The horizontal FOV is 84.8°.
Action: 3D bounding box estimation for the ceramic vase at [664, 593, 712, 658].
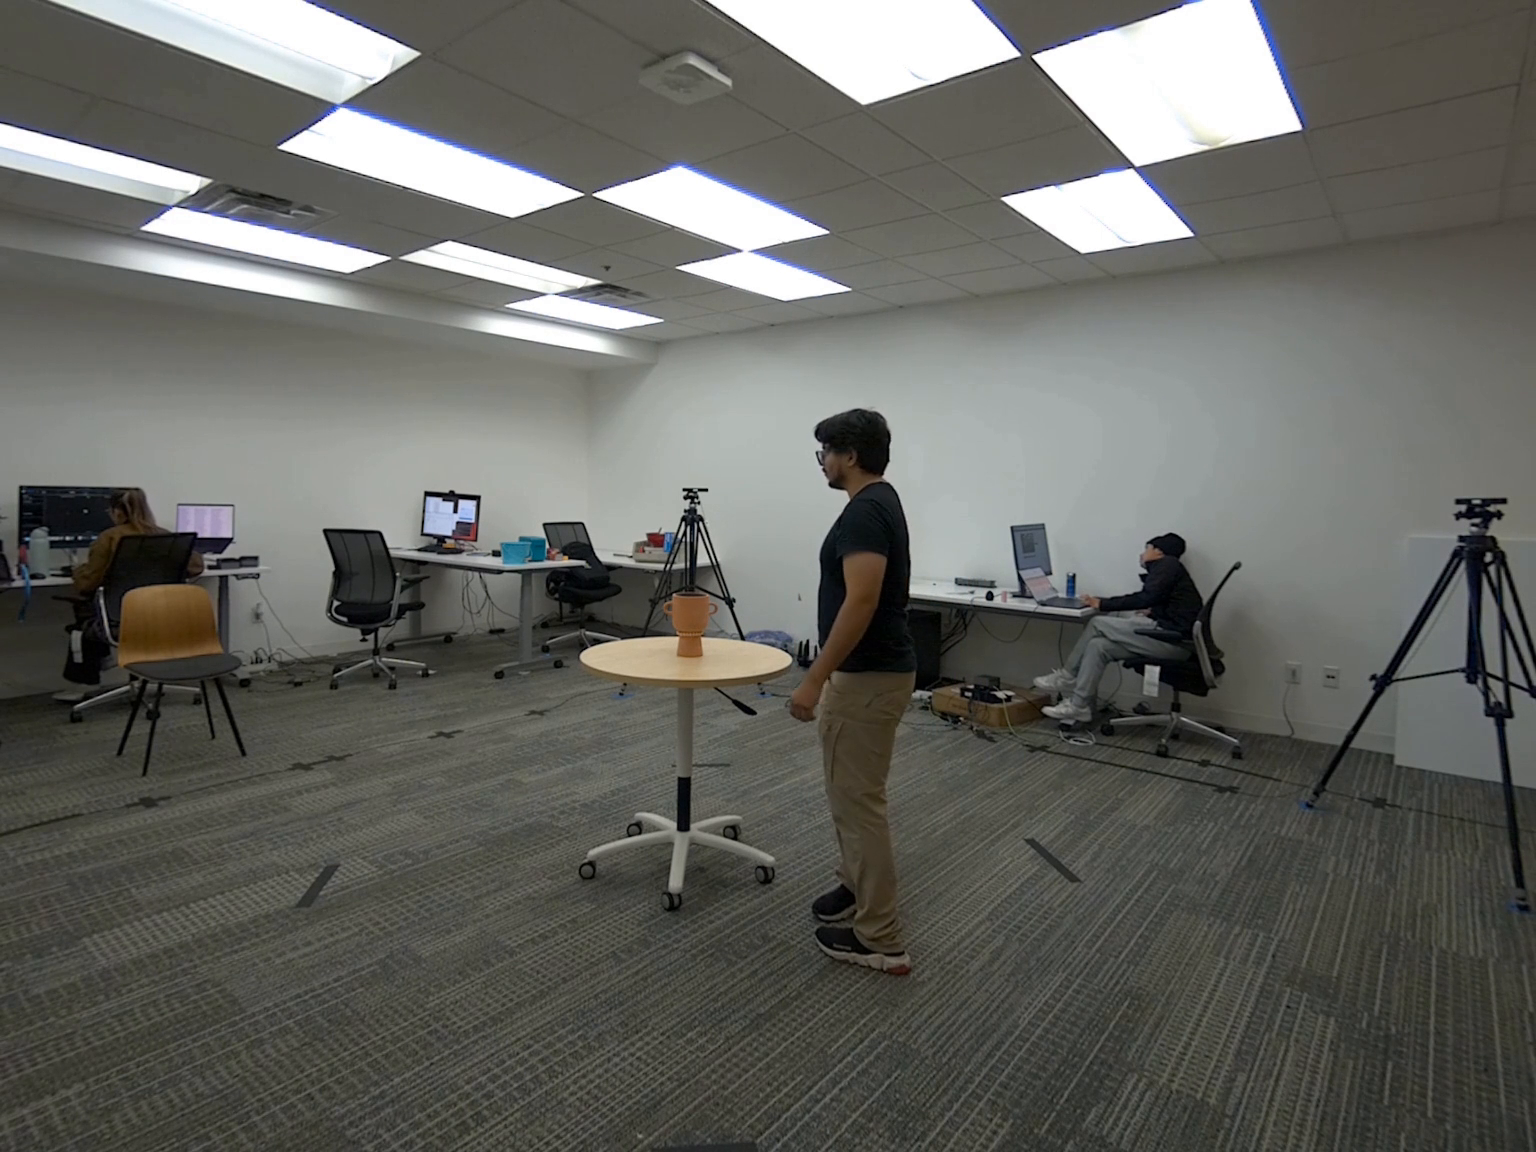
[{"bbox_3d":[-0.295,0.176,3.096,0.164,0.219,0.131,4,5,34],"label":"ceramic vase"}]
